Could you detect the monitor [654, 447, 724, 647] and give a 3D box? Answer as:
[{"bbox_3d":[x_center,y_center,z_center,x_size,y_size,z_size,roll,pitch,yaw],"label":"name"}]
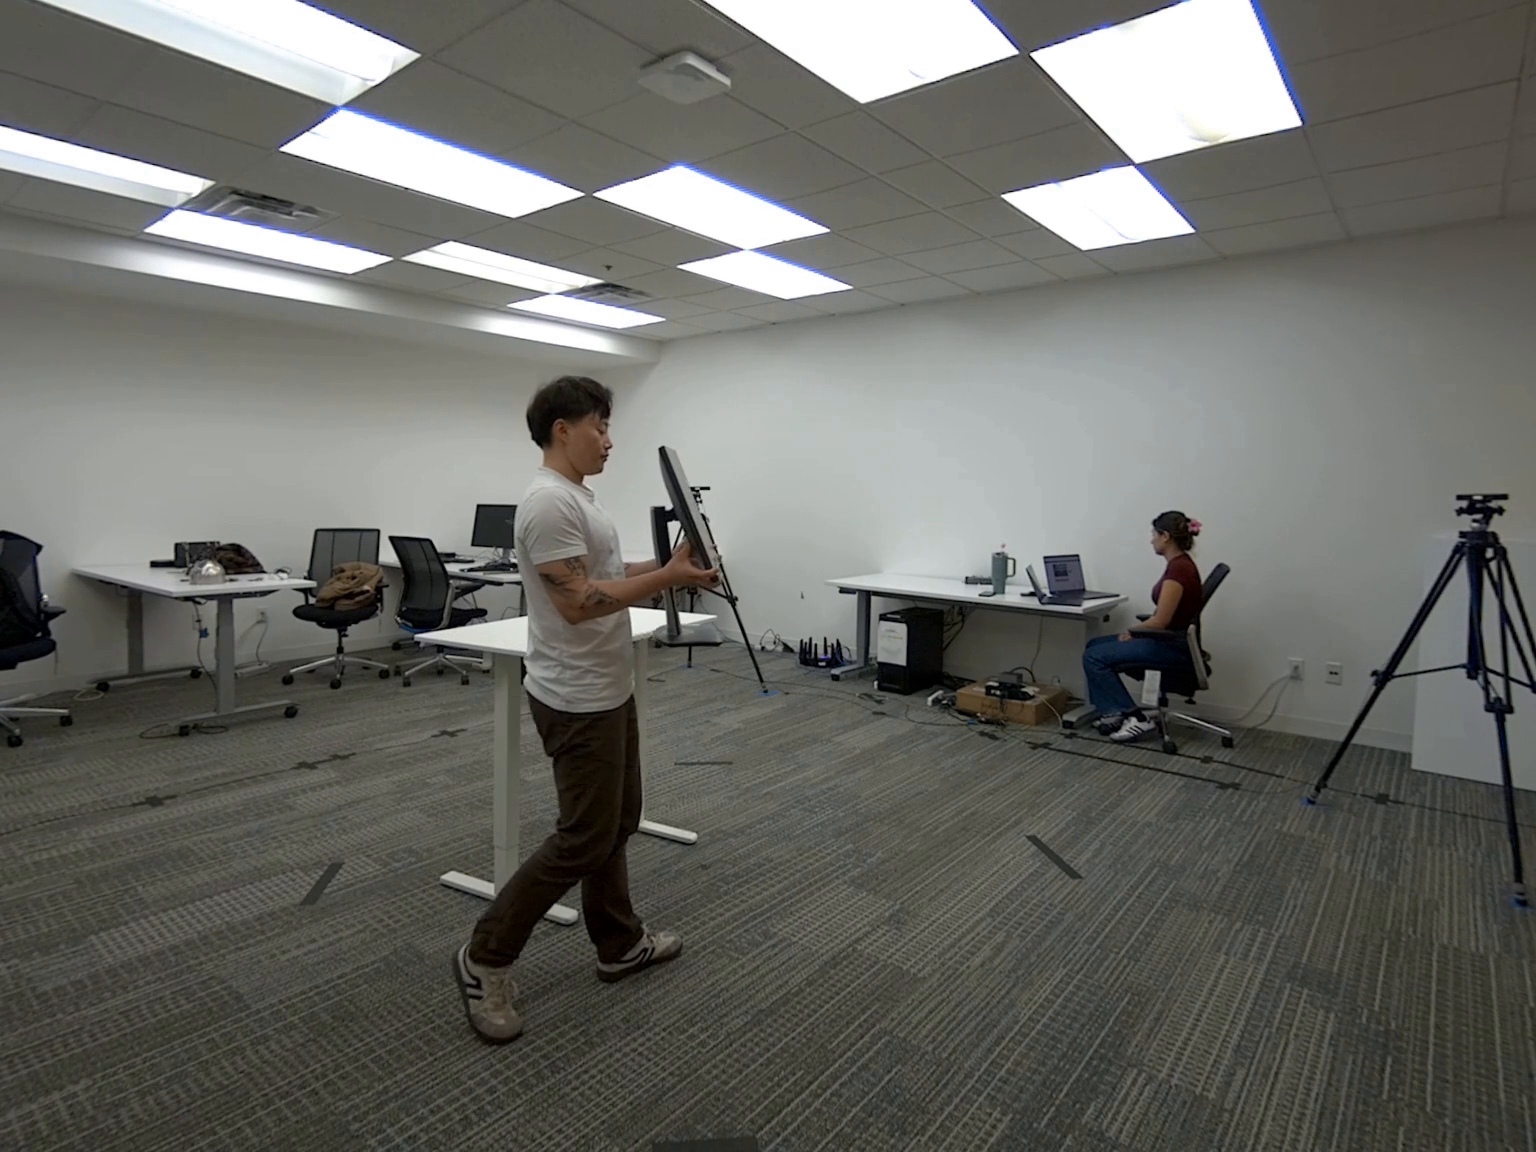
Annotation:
[{"bbox_3d":[-0.244,-0.081,2.305,0.186,0.520,0.543,-6,6,-4],"label":"monitor"}]
